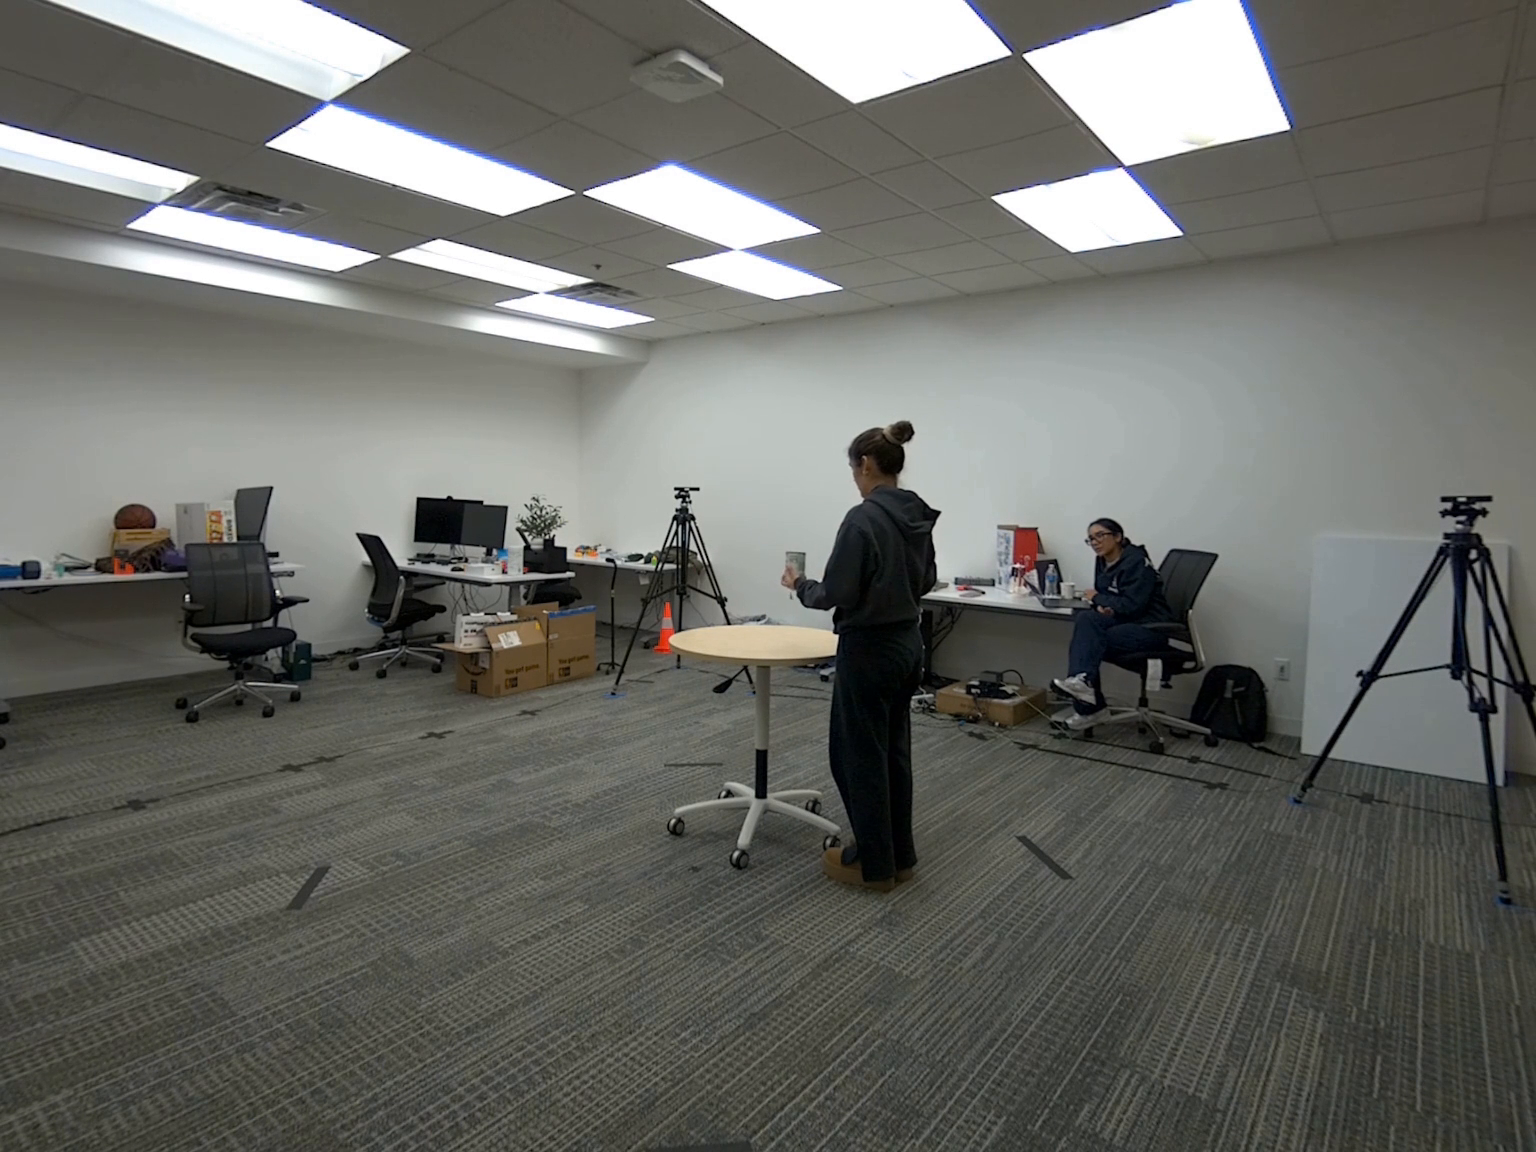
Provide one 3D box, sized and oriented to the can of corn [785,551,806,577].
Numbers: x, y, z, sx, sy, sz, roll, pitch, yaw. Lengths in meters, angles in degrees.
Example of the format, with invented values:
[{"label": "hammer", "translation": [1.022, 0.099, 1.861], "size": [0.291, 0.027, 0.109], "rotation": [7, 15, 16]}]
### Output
[{"label": "can of corn", "translation": [0.107, -0.020, 3.141], "size": [0.074, 0.111, 0.074], "rotation": [1, 0, -2]}]
